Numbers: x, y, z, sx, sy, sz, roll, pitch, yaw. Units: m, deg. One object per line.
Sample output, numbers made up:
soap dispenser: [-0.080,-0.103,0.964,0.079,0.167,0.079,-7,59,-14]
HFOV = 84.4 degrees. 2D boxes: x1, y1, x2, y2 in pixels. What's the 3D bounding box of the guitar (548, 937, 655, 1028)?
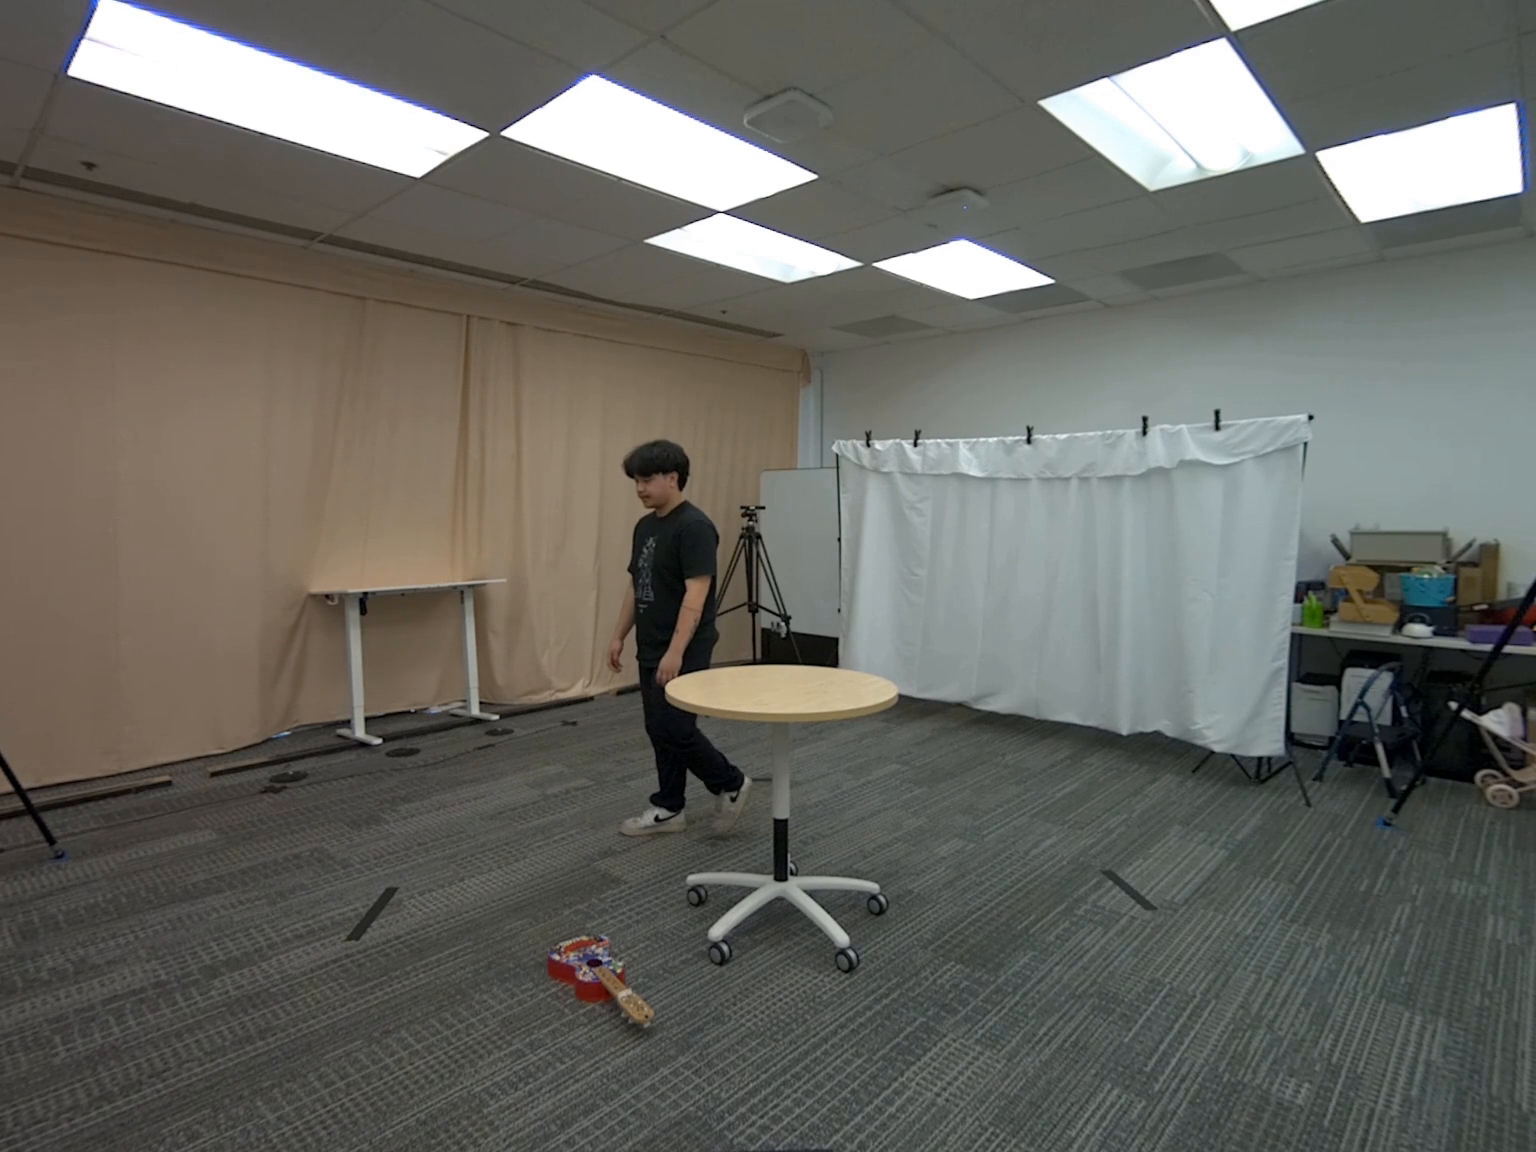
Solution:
guitar: [-0.489,1.159,2.387,0.188,0.070,0.511,-2,5,-26]
